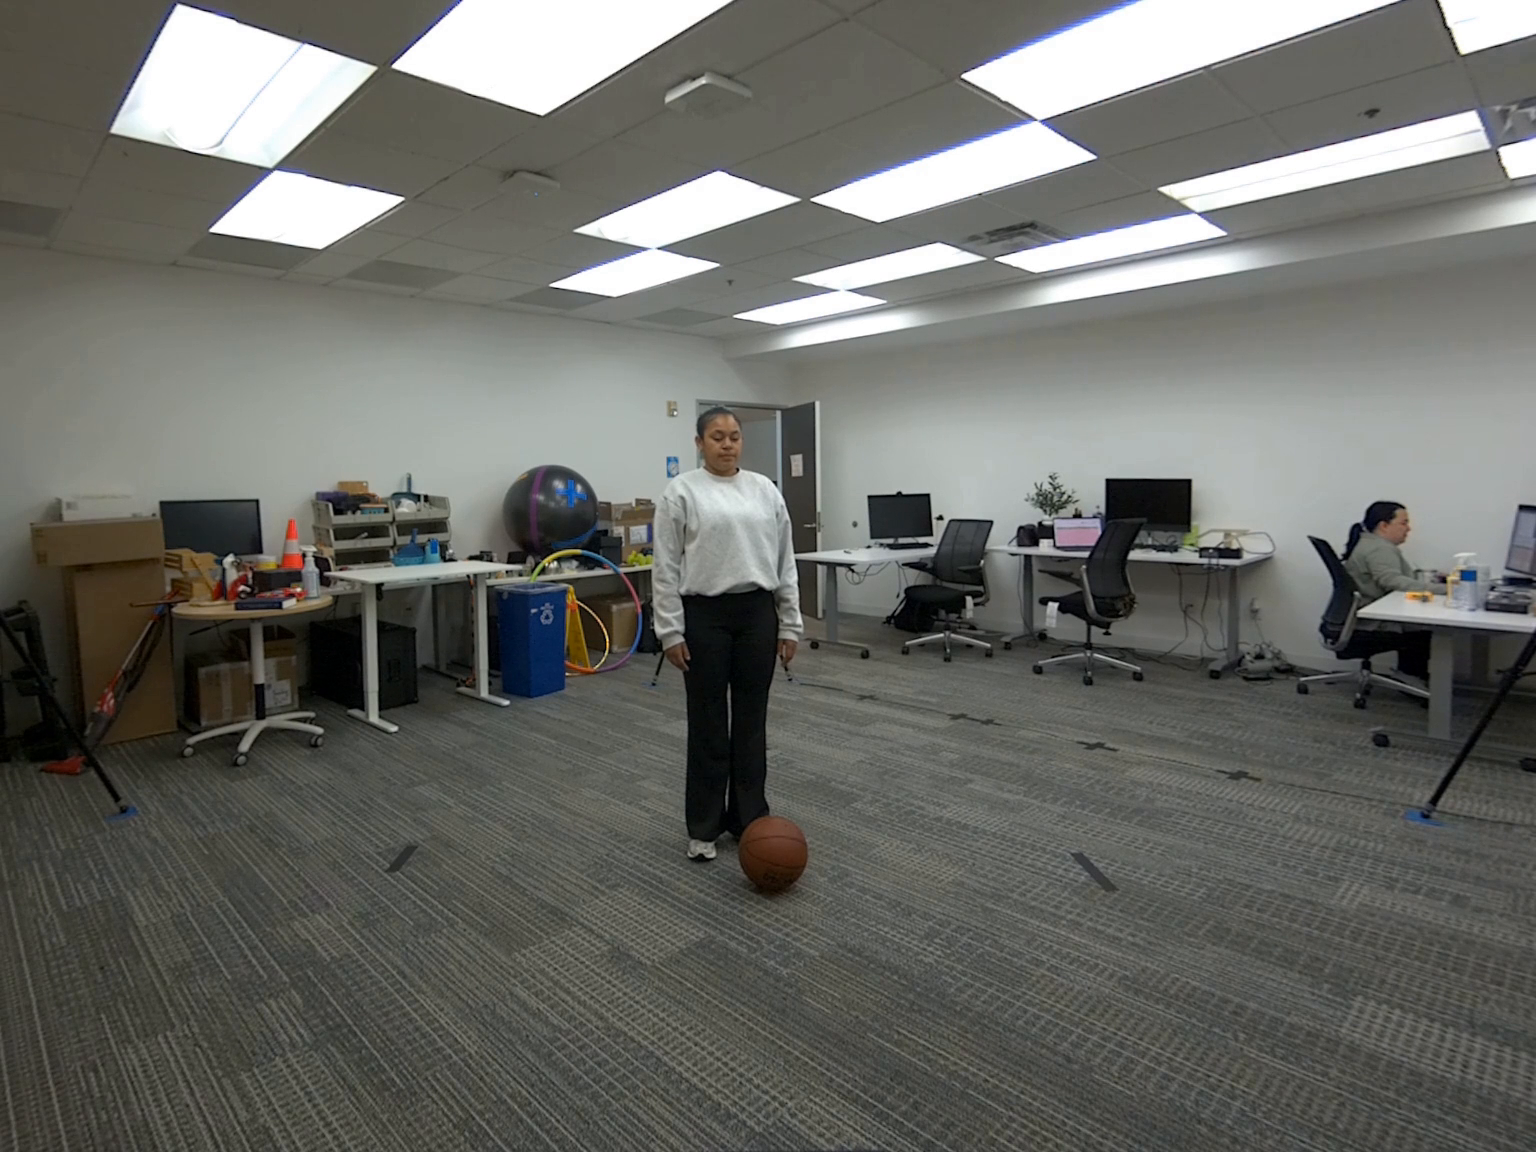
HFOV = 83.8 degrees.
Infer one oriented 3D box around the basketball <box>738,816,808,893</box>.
[{"bbox_3d":[0.020,0.943,2.925,0.236,0.235,0.237,-1,5,-2],"label":"basketball"}]
